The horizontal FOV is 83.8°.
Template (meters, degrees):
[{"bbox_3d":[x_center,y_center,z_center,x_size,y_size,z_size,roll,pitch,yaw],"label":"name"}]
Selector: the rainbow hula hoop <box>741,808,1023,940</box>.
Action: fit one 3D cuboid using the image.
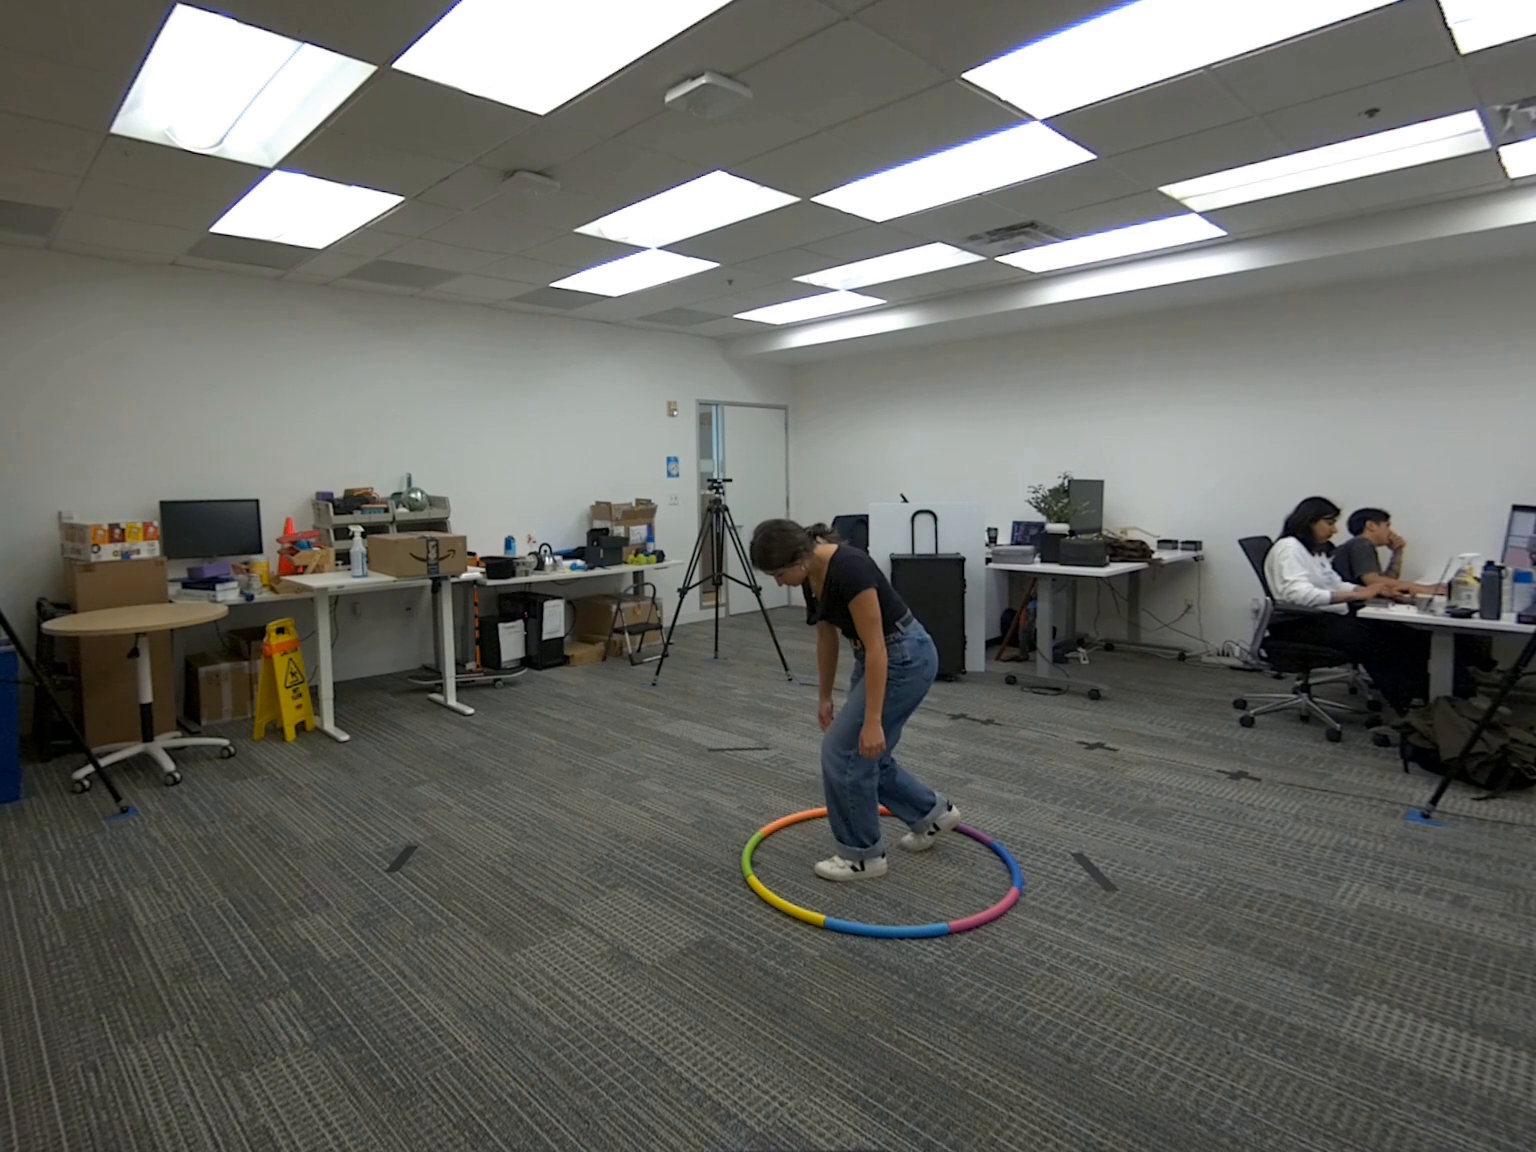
[{"bbox_3d":[0.389,1.011,3.073,0.978,0.035,0.984,-1,7,-2],"label":"rainbow hula hoop"}]
